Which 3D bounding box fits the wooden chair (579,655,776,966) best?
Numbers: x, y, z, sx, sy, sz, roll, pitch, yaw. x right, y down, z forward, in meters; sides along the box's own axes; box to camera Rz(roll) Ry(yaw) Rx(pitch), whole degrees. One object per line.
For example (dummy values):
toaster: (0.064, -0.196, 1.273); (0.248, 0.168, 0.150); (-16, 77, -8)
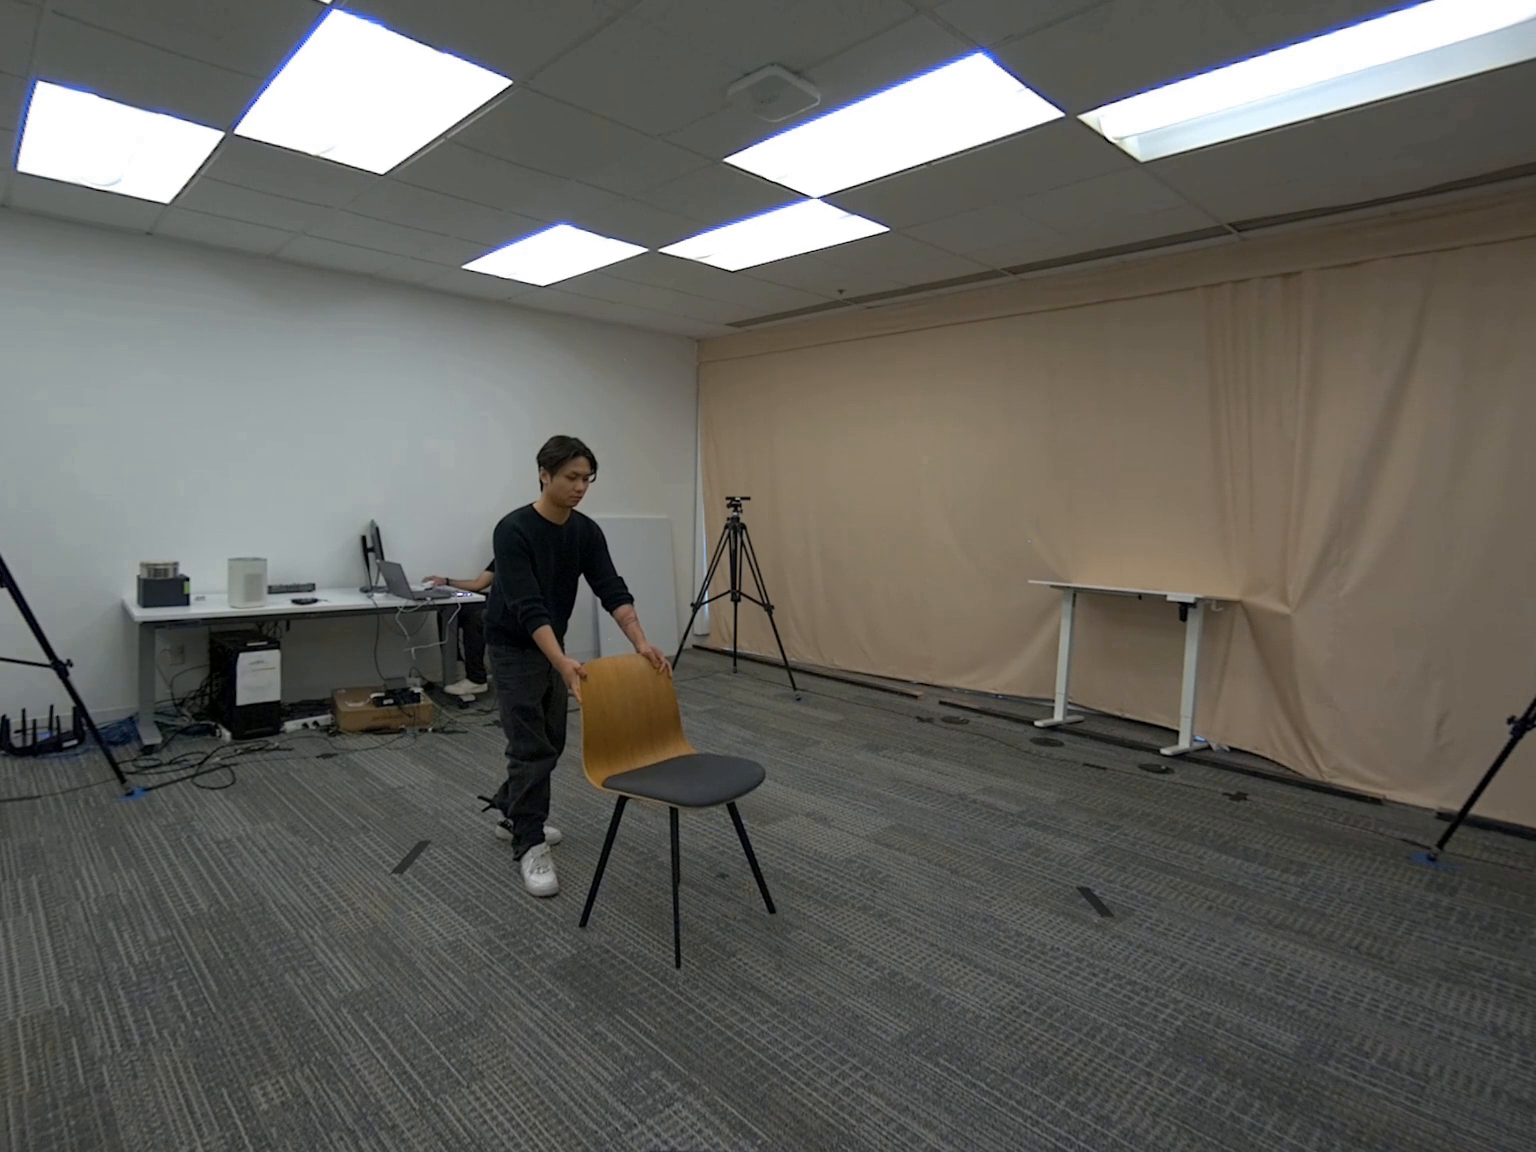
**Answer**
wooden chair: (-0.309, 0.691, 2.717); (0.534, 0.880, 0.467); (-8, -4, 41)
